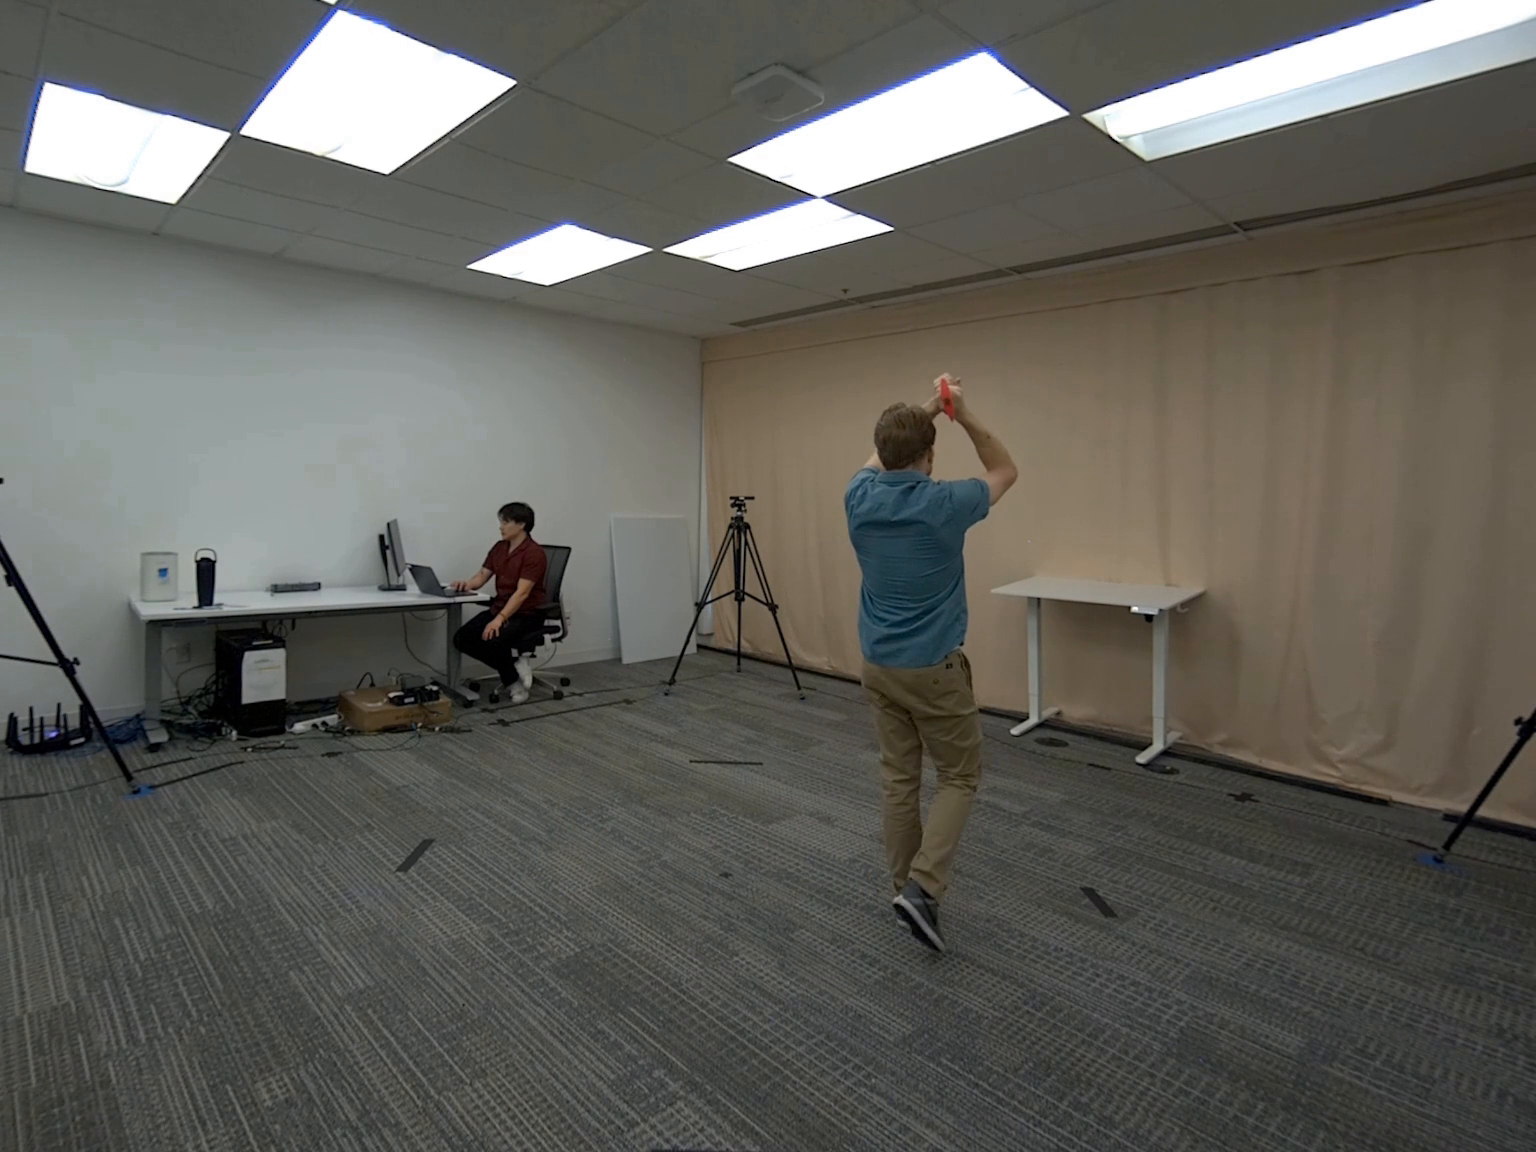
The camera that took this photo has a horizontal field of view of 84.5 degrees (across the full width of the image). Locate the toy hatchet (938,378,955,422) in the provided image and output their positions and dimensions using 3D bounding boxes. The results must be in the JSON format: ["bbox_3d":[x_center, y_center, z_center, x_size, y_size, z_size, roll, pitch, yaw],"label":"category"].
[{"bbox_3d":[0.551,-0.592,2.625,0.030,0.128,0.274,-11,33,15],"label":"toy hatchet"}]
